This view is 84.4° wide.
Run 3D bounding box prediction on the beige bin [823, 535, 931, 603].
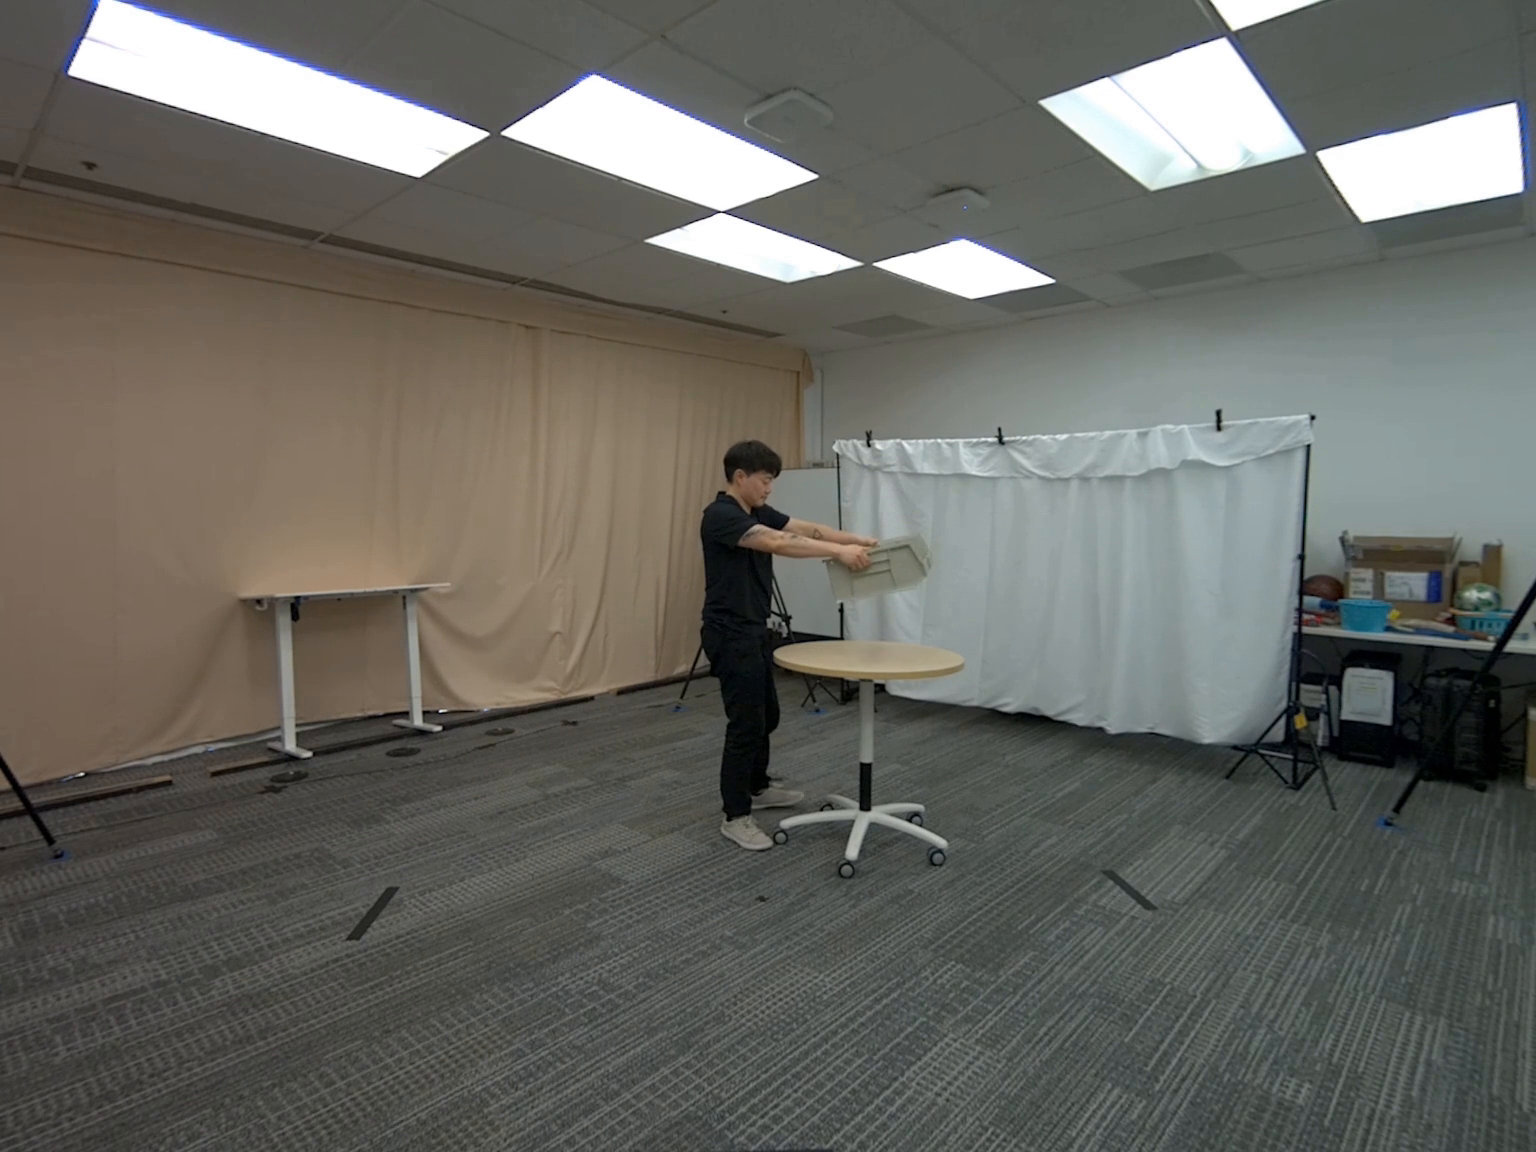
[{"bbox_3d":[0.460,-0.038,3.415,0.384,0.189,0.416,-13,3,19],"label":"beige bin"}]
